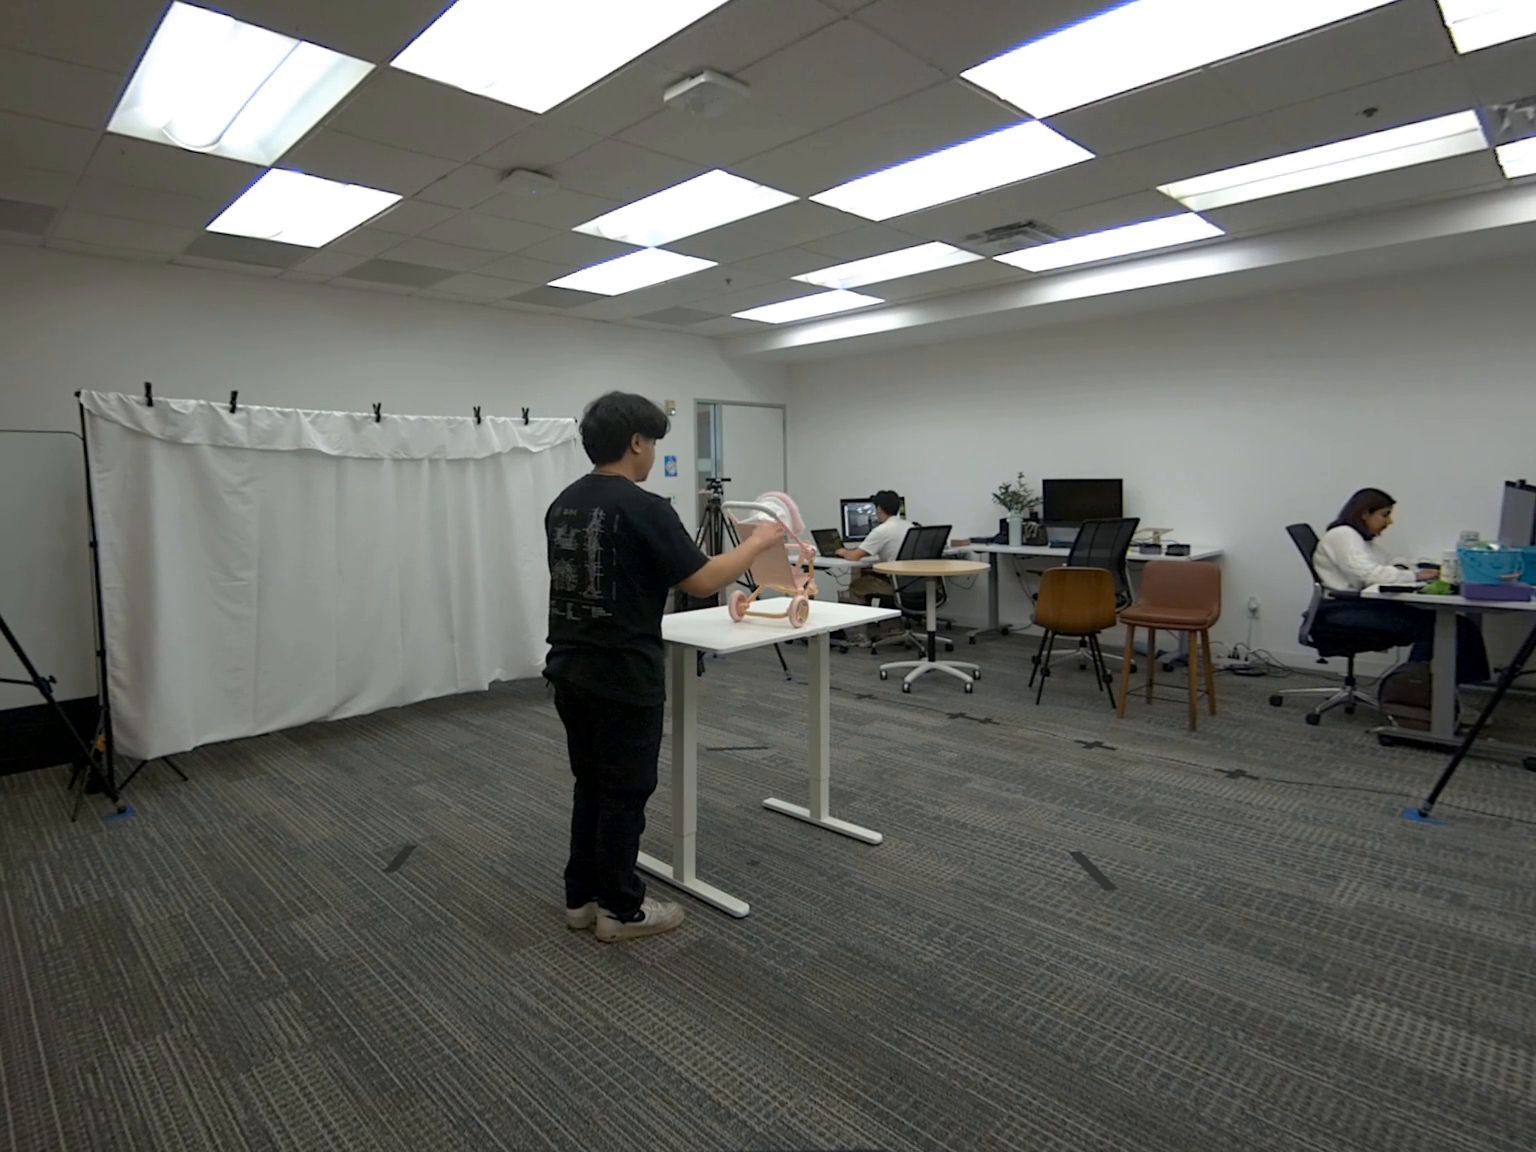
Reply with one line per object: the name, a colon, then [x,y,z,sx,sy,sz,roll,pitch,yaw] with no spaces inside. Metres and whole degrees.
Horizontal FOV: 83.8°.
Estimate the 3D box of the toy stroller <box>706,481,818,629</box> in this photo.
toy stroller: [0.035,-0.058,3.043,0.290,0.526,0.337,4,21,36]
